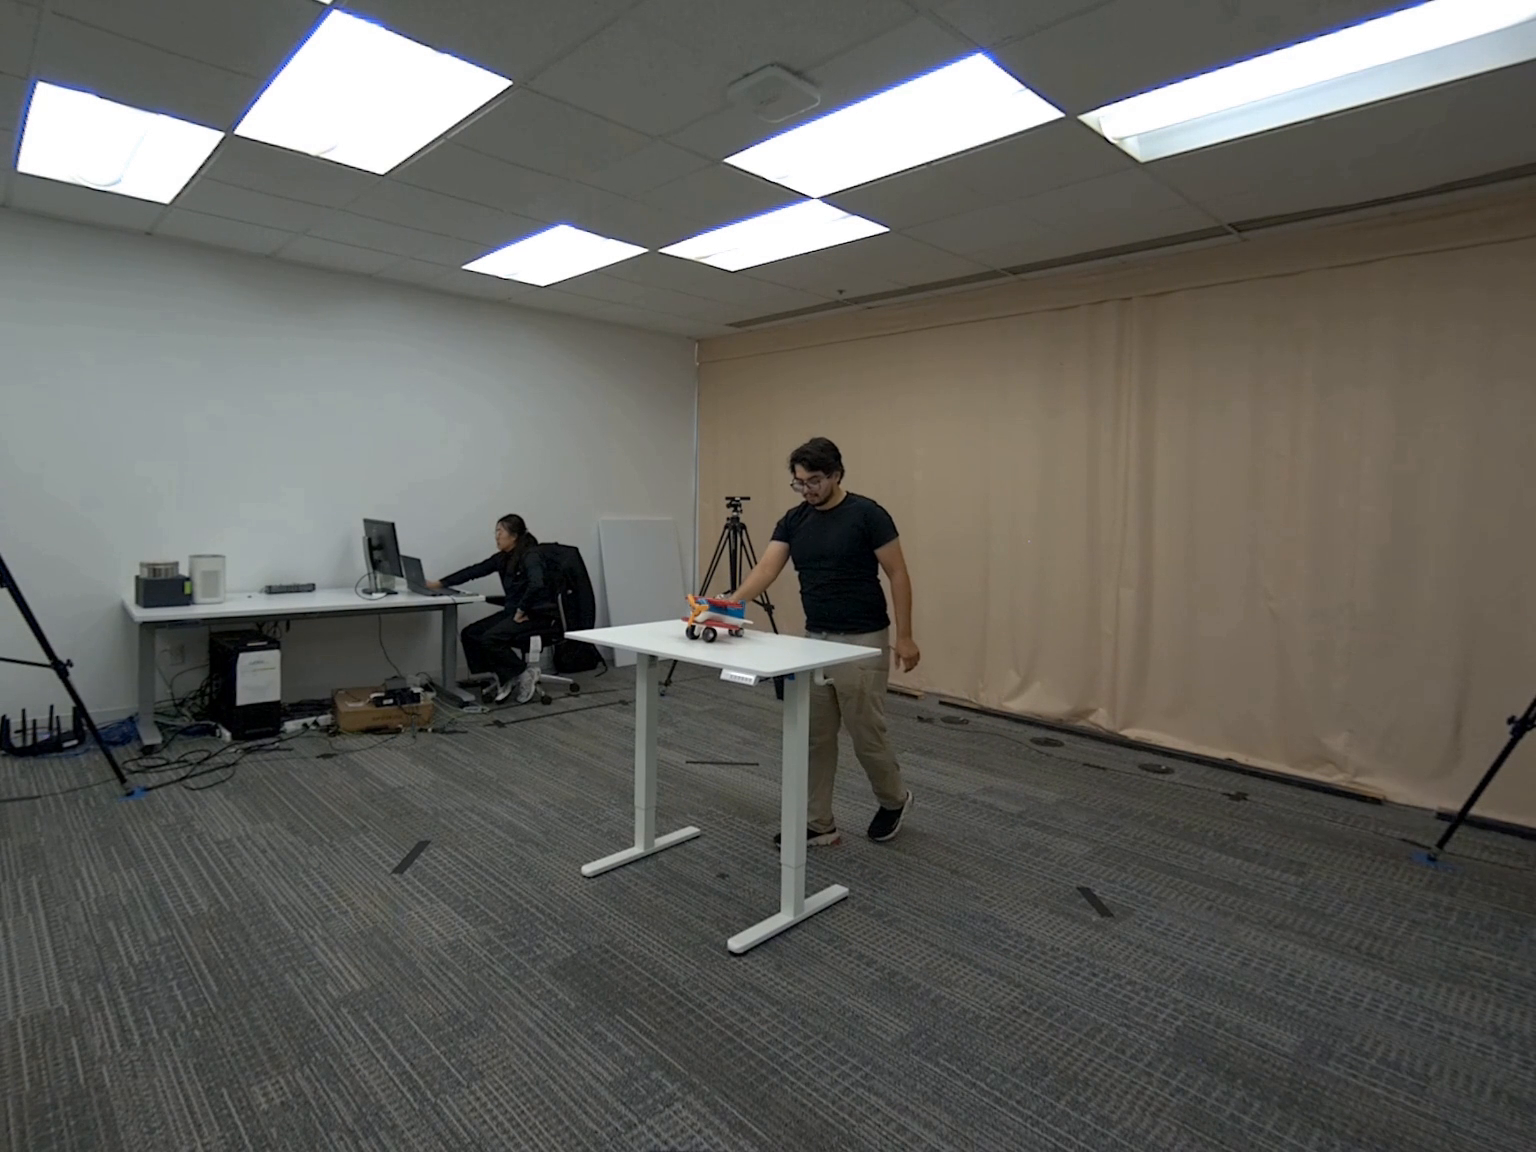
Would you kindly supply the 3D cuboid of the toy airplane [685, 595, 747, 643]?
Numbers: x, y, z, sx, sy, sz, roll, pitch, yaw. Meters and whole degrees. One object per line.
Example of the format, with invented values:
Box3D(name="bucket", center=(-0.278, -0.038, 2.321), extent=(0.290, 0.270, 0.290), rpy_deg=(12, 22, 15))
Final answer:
Box3D(name="toy airplane", center=(-0.202, 0.151, 3.047), extent=(0.254, 0.156, 0.256), rpy_deg=(2, 5, 16))
